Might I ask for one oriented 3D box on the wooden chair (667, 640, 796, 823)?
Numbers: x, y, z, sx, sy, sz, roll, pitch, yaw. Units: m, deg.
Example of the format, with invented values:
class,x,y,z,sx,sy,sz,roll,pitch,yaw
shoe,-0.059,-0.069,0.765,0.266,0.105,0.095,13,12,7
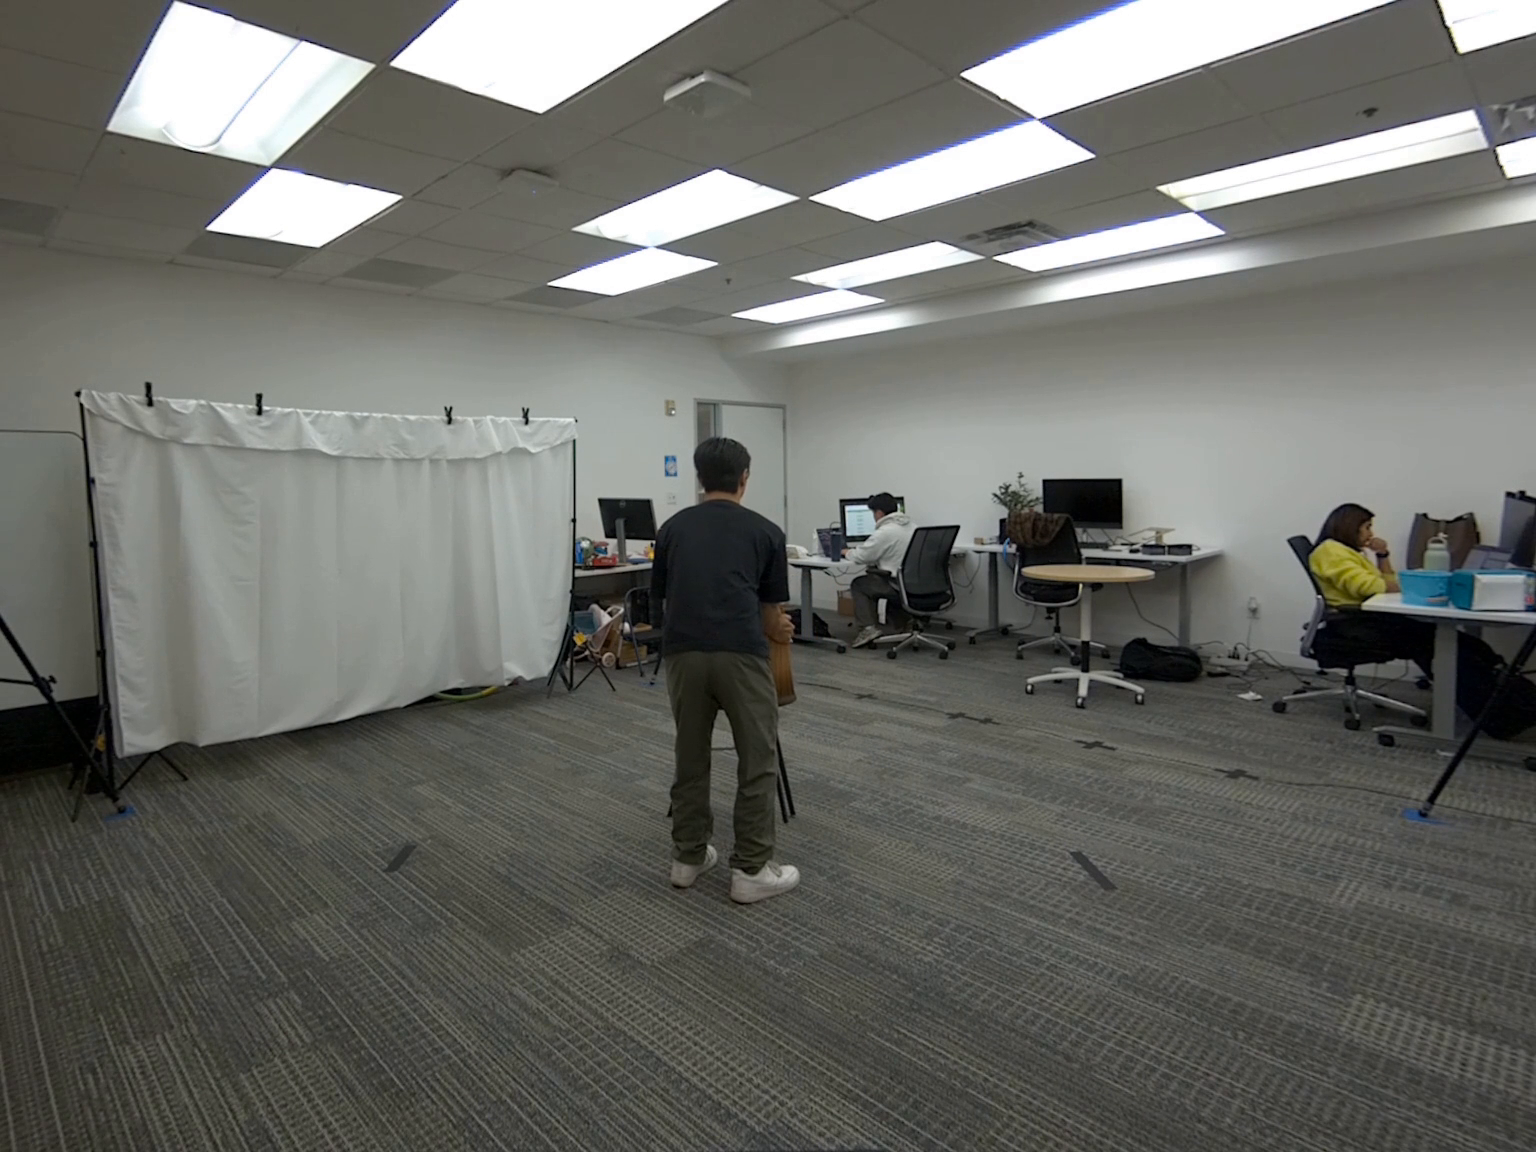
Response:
class,x,y,z,sx,sy,sz,roll,pitch,yaw
wooden chair,-0.119,0.526,3.457,0.482,0.885,0.514,0,-9,7
